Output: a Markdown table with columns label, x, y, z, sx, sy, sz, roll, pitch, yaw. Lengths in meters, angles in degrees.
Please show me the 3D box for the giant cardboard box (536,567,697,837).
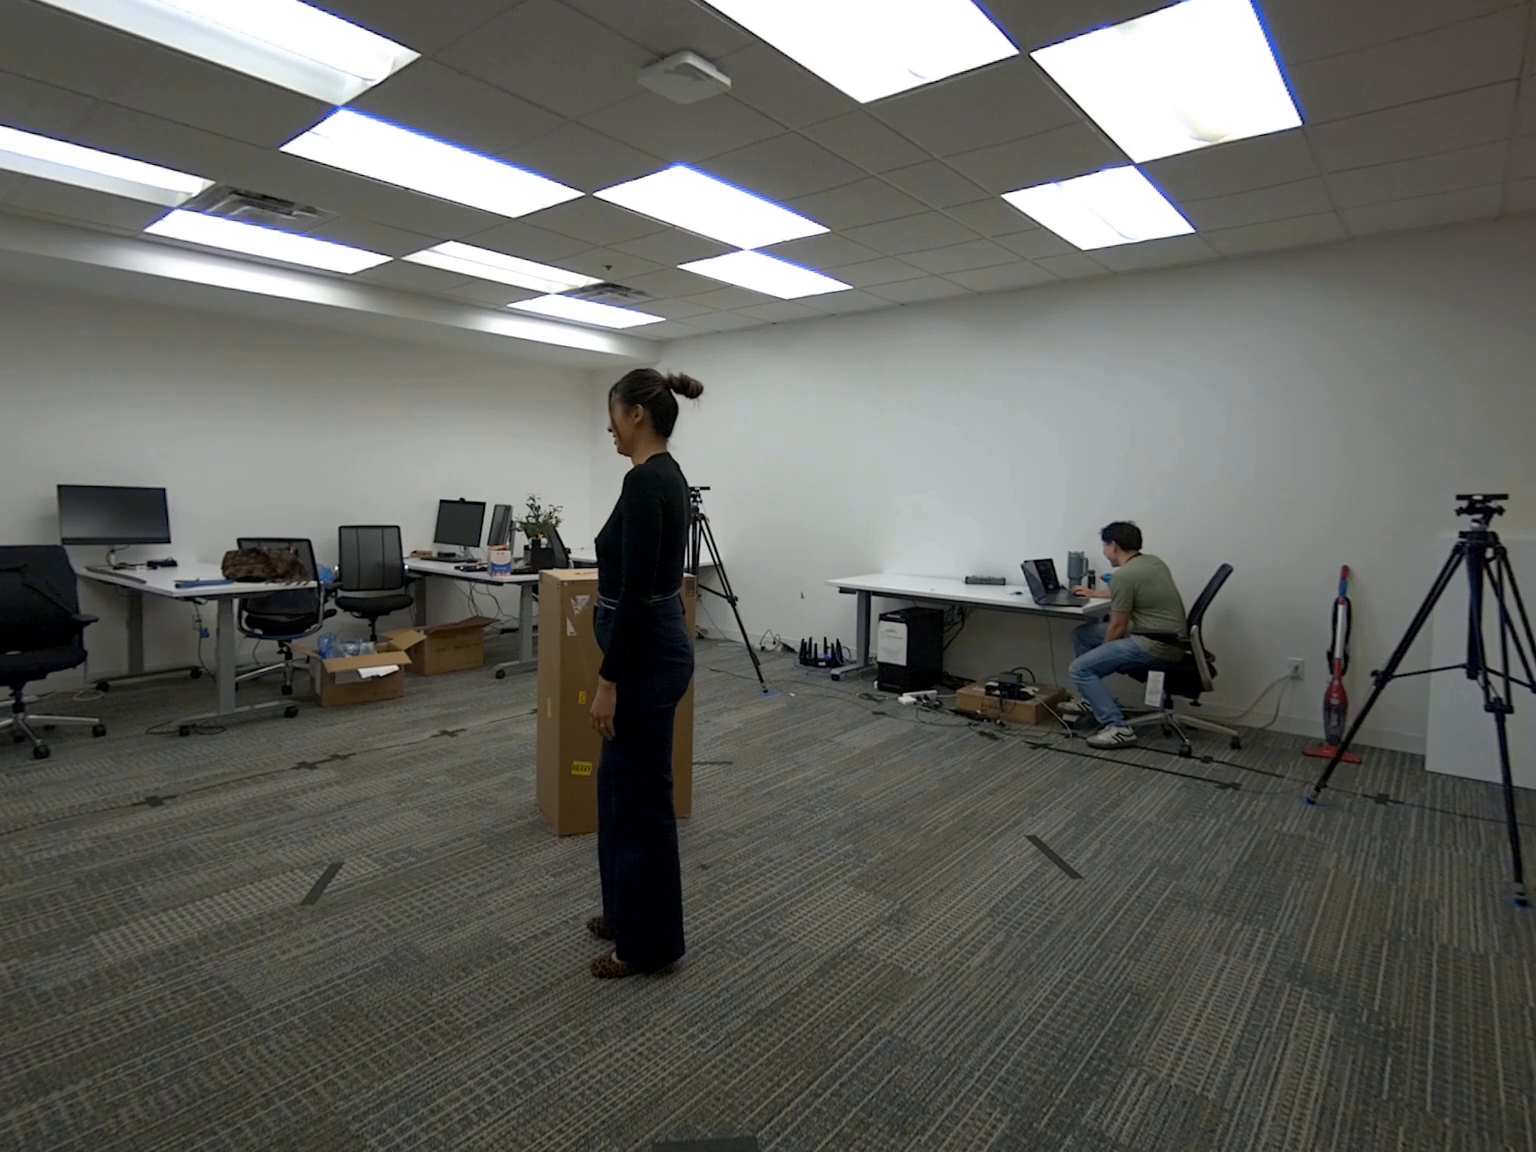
| label | x | y | z | sx | sy | sz | roll | pitch | yaw |
| --- | --- | --- | --- | --- | --- | --- | --- | --- | --- |
| giant cardboard box | -0.671 | 0.495 | 3.638 | 0.564 | 1.023 | 0.438 | 0 | 3 | -25 |
